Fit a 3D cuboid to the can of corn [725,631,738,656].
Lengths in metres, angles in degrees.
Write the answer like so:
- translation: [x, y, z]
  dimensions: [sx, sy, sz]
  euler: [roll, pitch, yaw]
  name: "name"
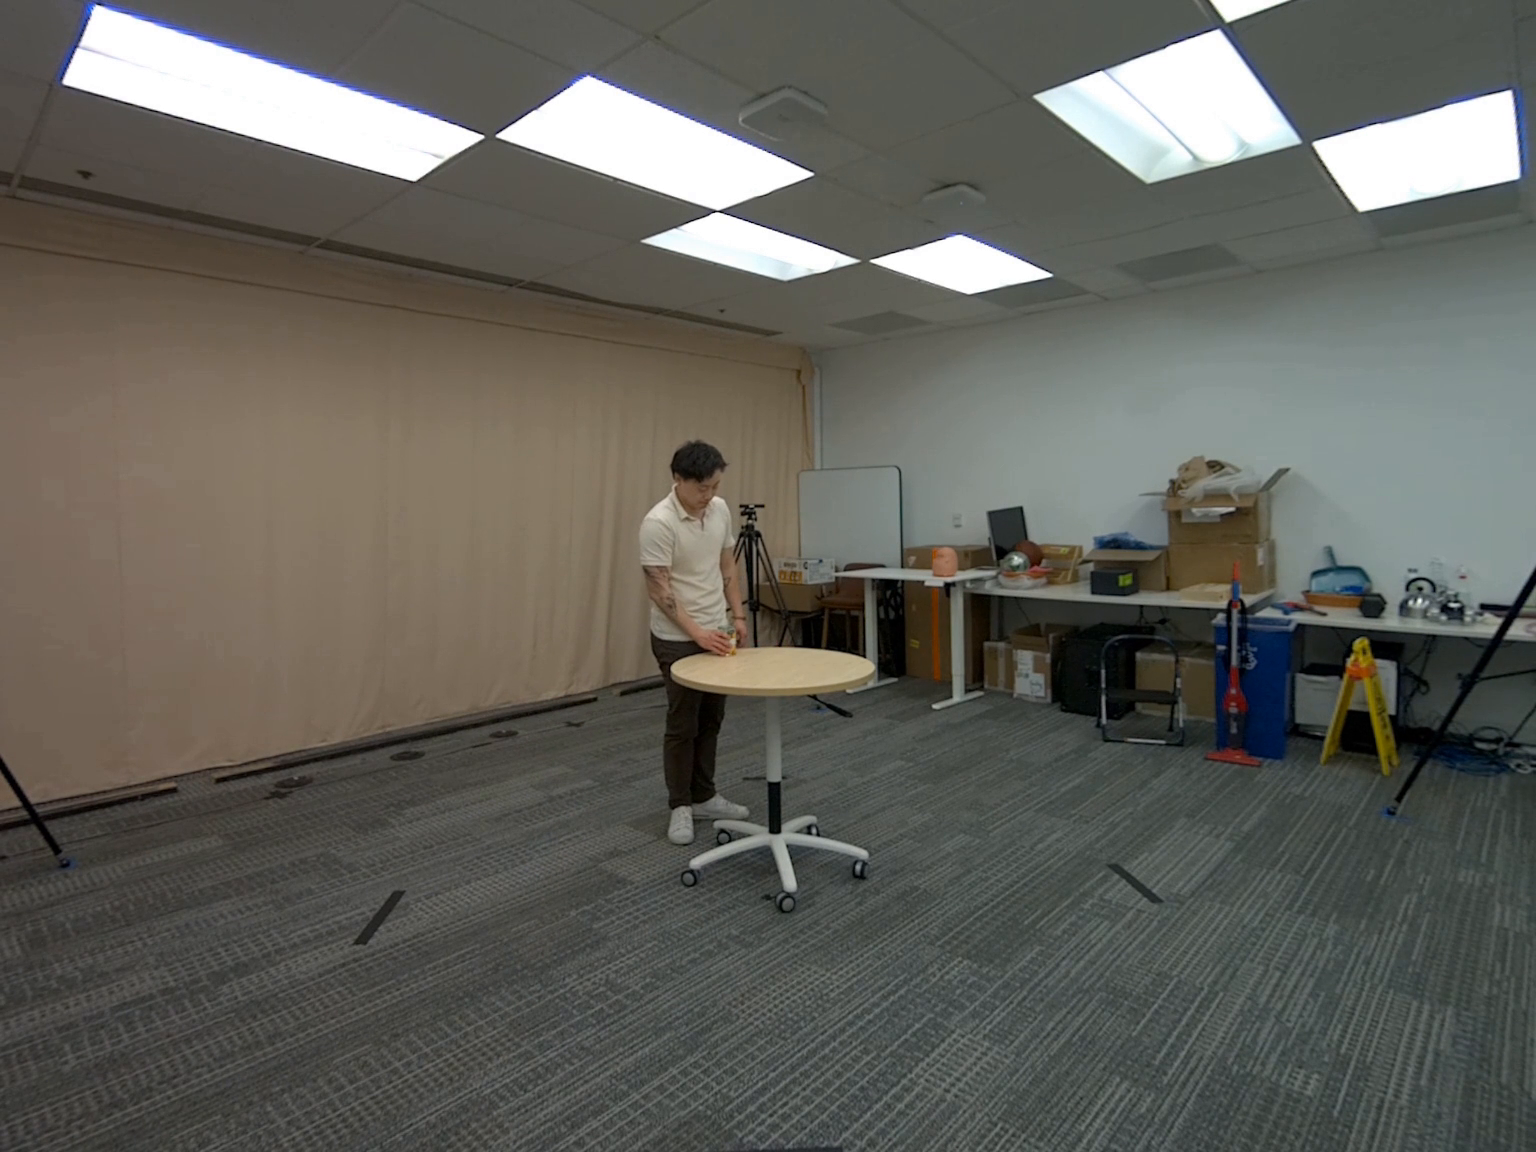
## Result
- translation: [-0.178, 0.262, 3.405]
  dimensions: [0.074, 0.111, 0.074]
  euler: [-3, 3, -2]
  name: "can of corn"
